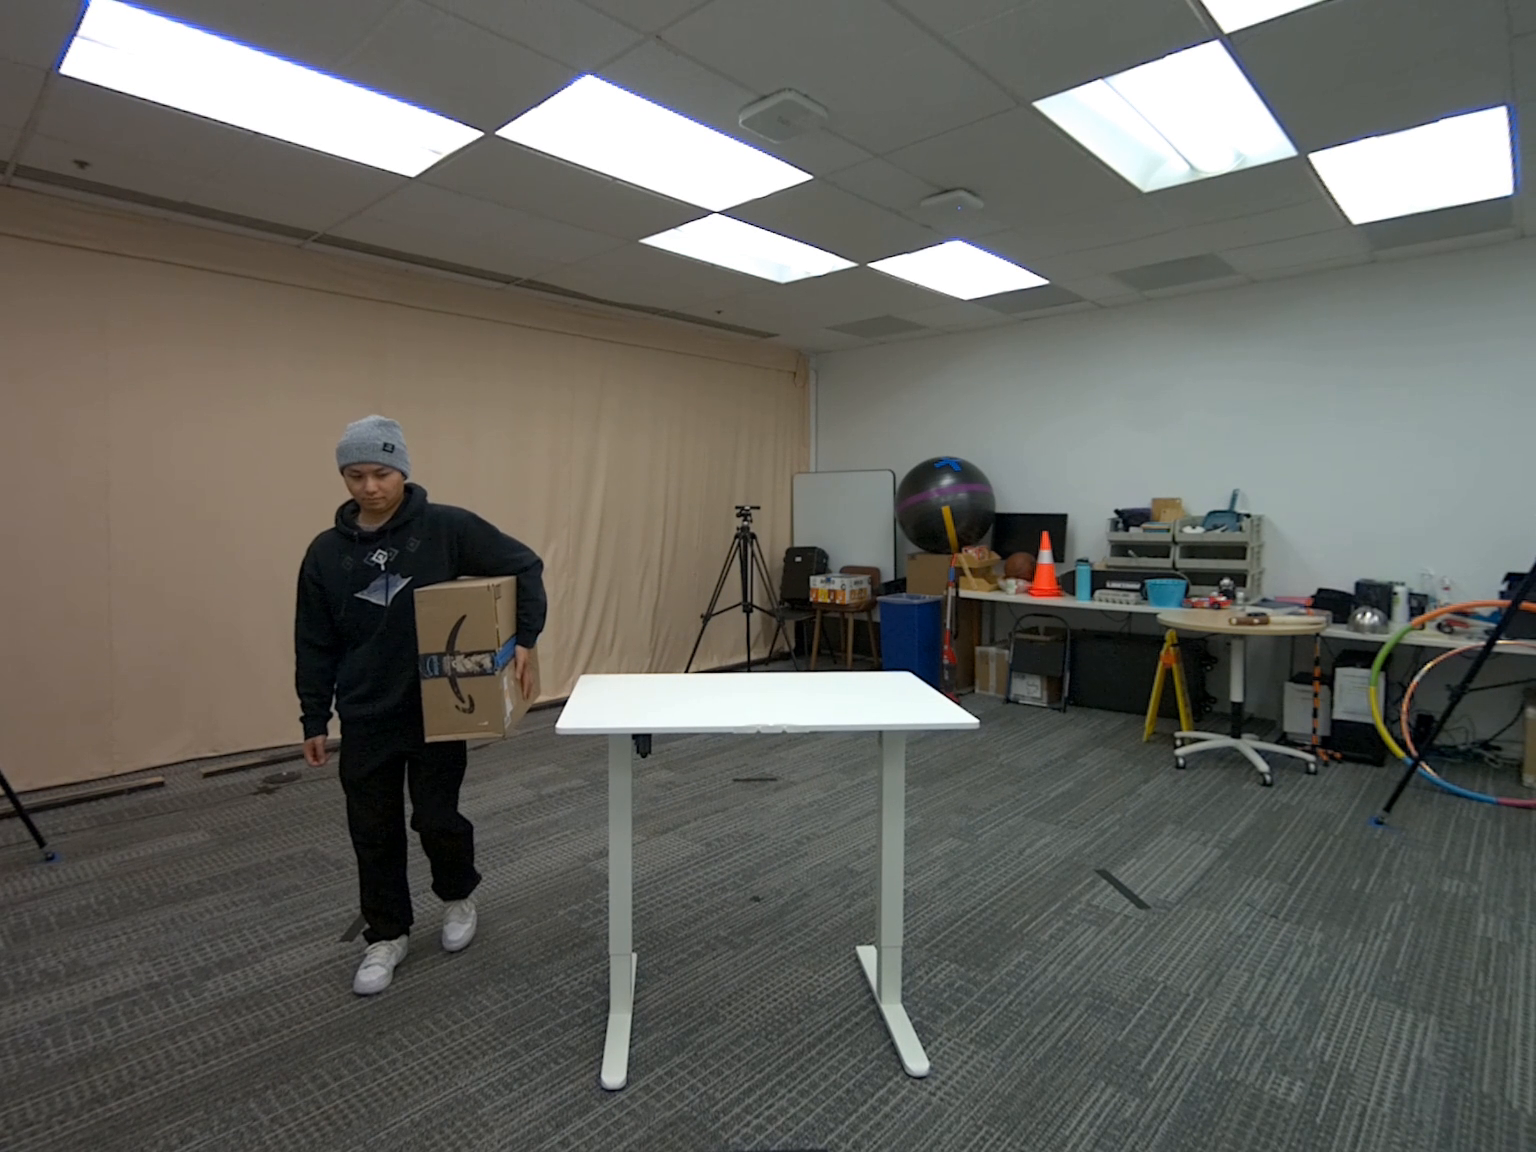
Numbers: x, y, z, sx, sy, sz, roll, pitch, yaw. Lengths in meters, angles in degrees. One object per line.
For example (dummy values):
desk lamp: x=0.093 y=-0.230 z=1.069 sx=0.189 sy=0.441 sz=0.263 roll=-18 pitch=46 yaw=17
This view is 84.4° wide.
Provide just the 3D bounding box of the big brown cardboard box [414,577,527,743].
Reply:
big brown cardboard box: x=-0.847 y=0.214 z=2.519 sx=0.232 sy=0.416 sz=0.593 roll=-3 pitch=4 yaw=-7
